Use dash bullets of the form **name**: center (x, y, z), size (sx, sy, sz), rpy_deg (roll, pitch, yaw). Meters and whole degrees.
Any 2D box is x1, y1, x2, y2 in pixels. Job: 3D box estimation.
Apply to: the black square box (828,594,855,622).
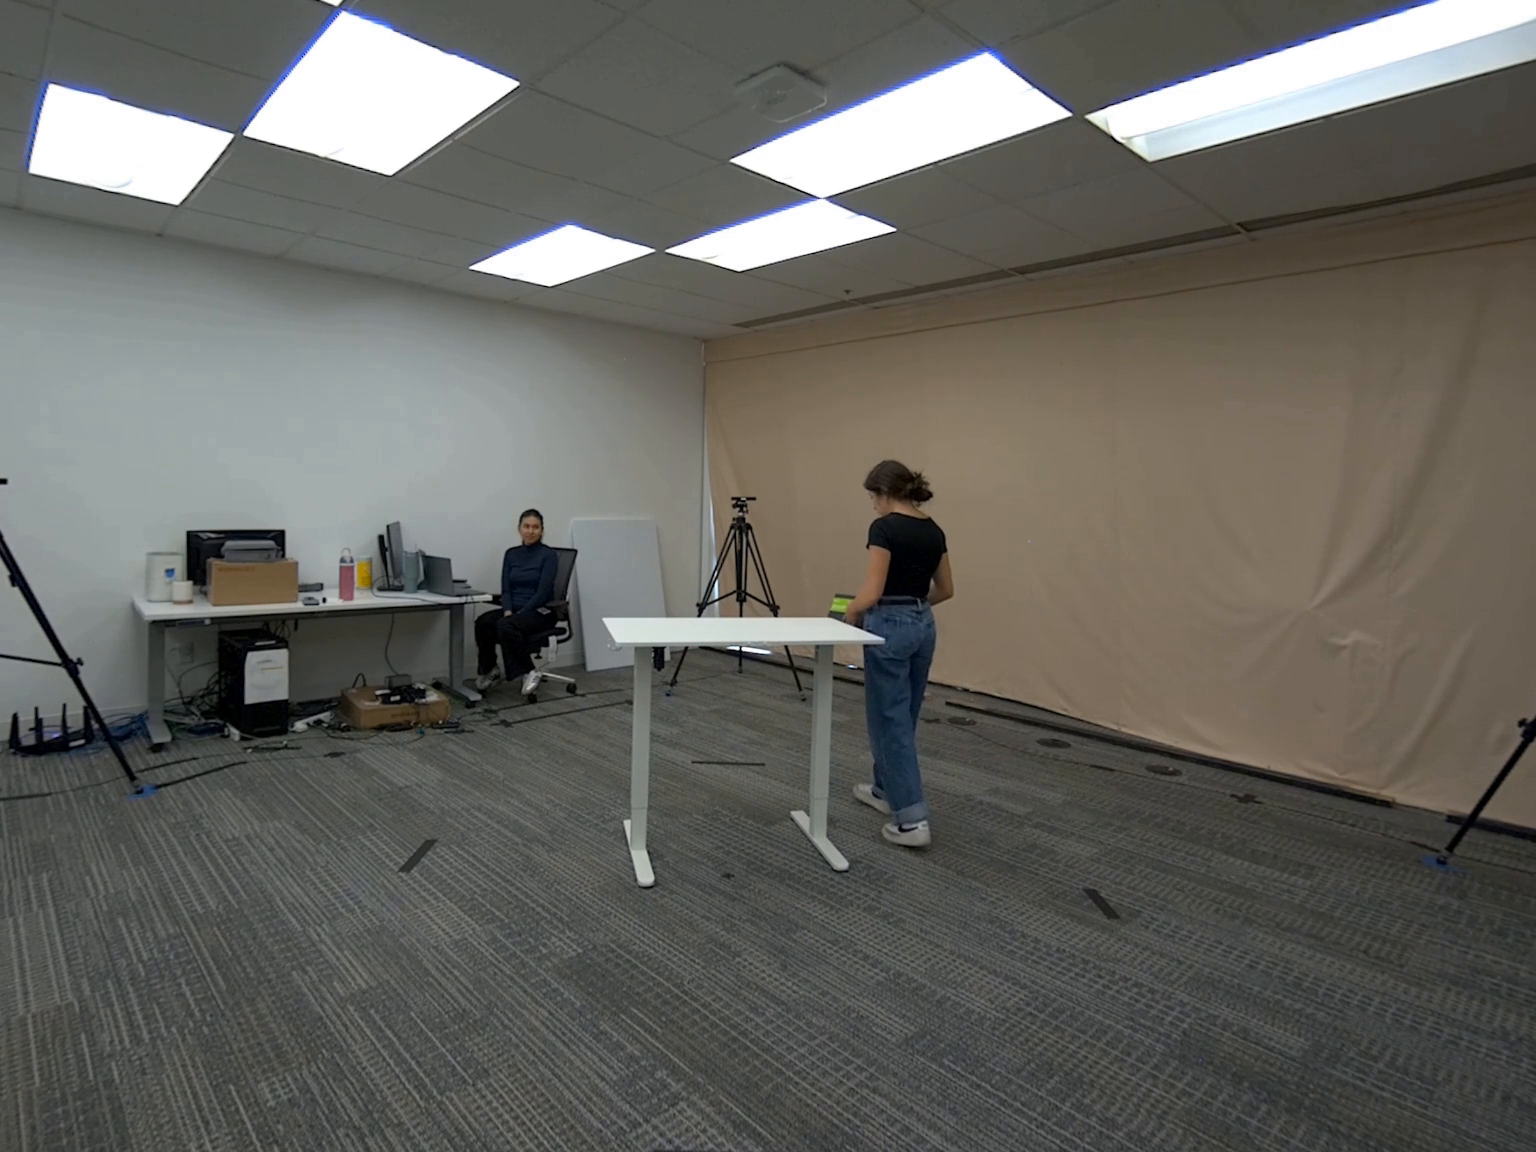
- **black square box**: center (0.427, 0.202, 3.846), size (0.210, 0.157, 0.234), rpy_deg (31, -16, -39)
